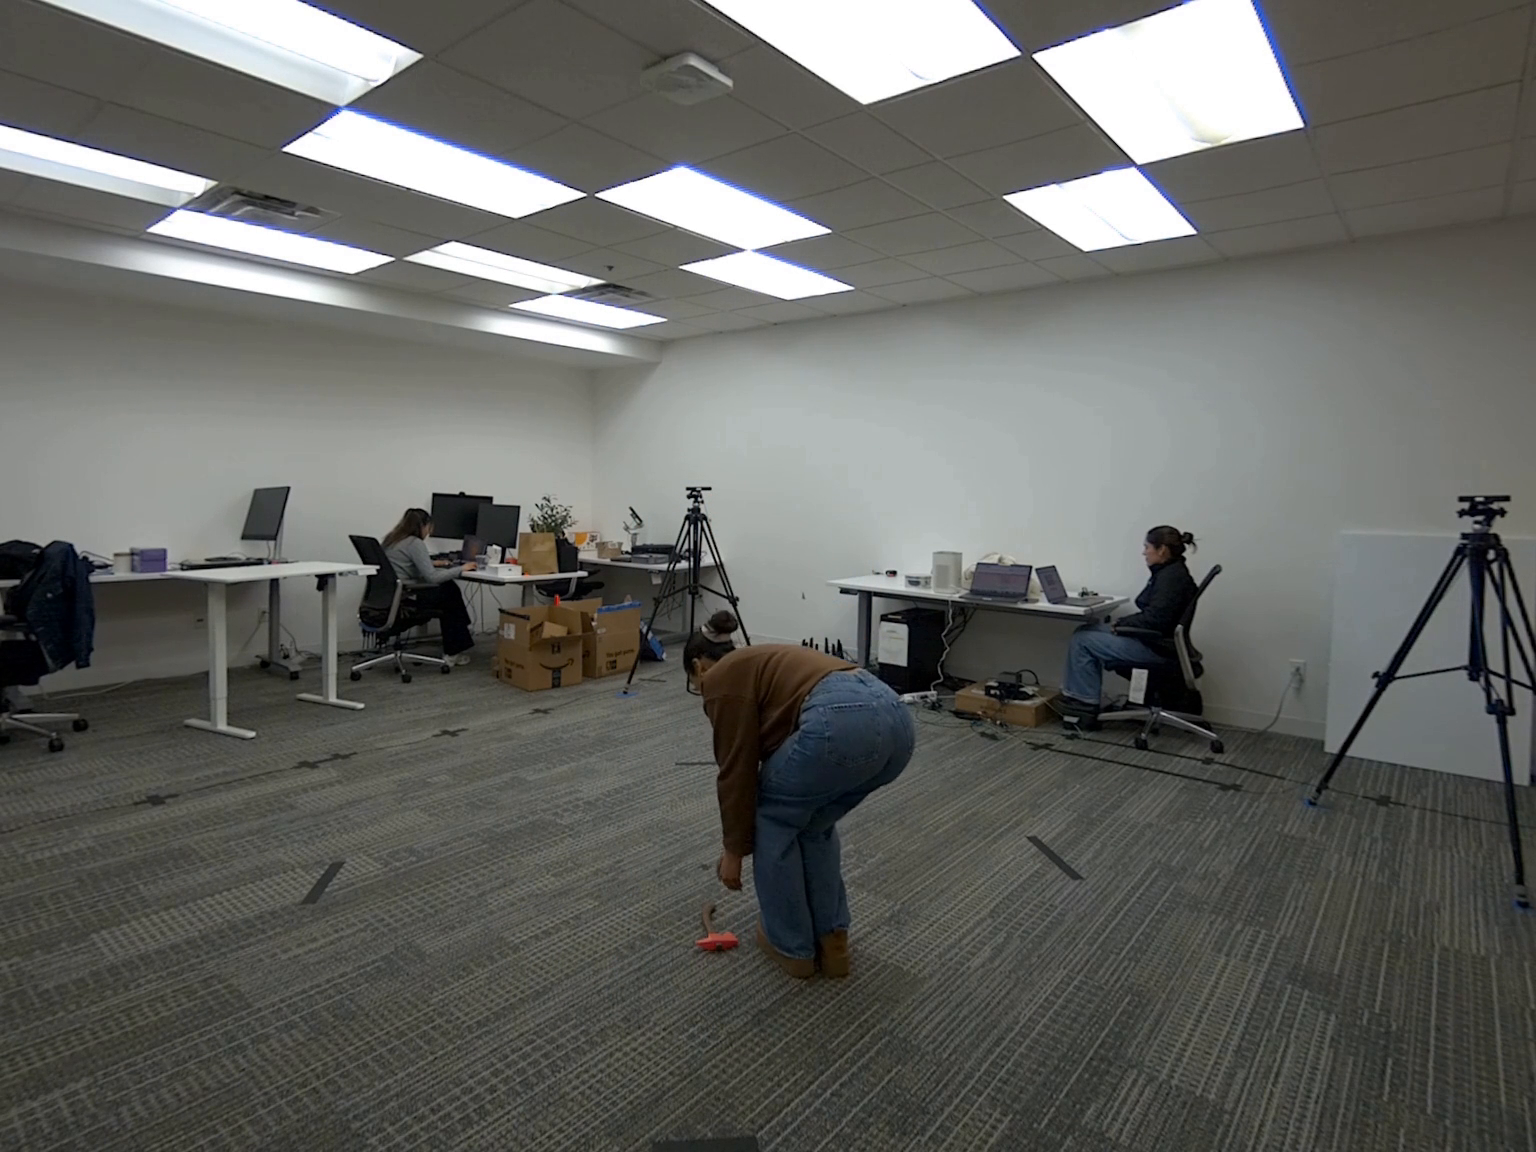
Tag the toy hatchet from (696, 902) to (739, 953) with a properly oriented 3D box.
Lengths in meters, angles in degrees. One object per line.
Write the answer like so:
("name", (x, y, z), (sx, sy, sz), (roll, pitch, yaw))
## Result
("toy hatchet", (-0.159, 1.097, 2.674), (0.132, 0.029, 0.269), (3, 4, 4))
